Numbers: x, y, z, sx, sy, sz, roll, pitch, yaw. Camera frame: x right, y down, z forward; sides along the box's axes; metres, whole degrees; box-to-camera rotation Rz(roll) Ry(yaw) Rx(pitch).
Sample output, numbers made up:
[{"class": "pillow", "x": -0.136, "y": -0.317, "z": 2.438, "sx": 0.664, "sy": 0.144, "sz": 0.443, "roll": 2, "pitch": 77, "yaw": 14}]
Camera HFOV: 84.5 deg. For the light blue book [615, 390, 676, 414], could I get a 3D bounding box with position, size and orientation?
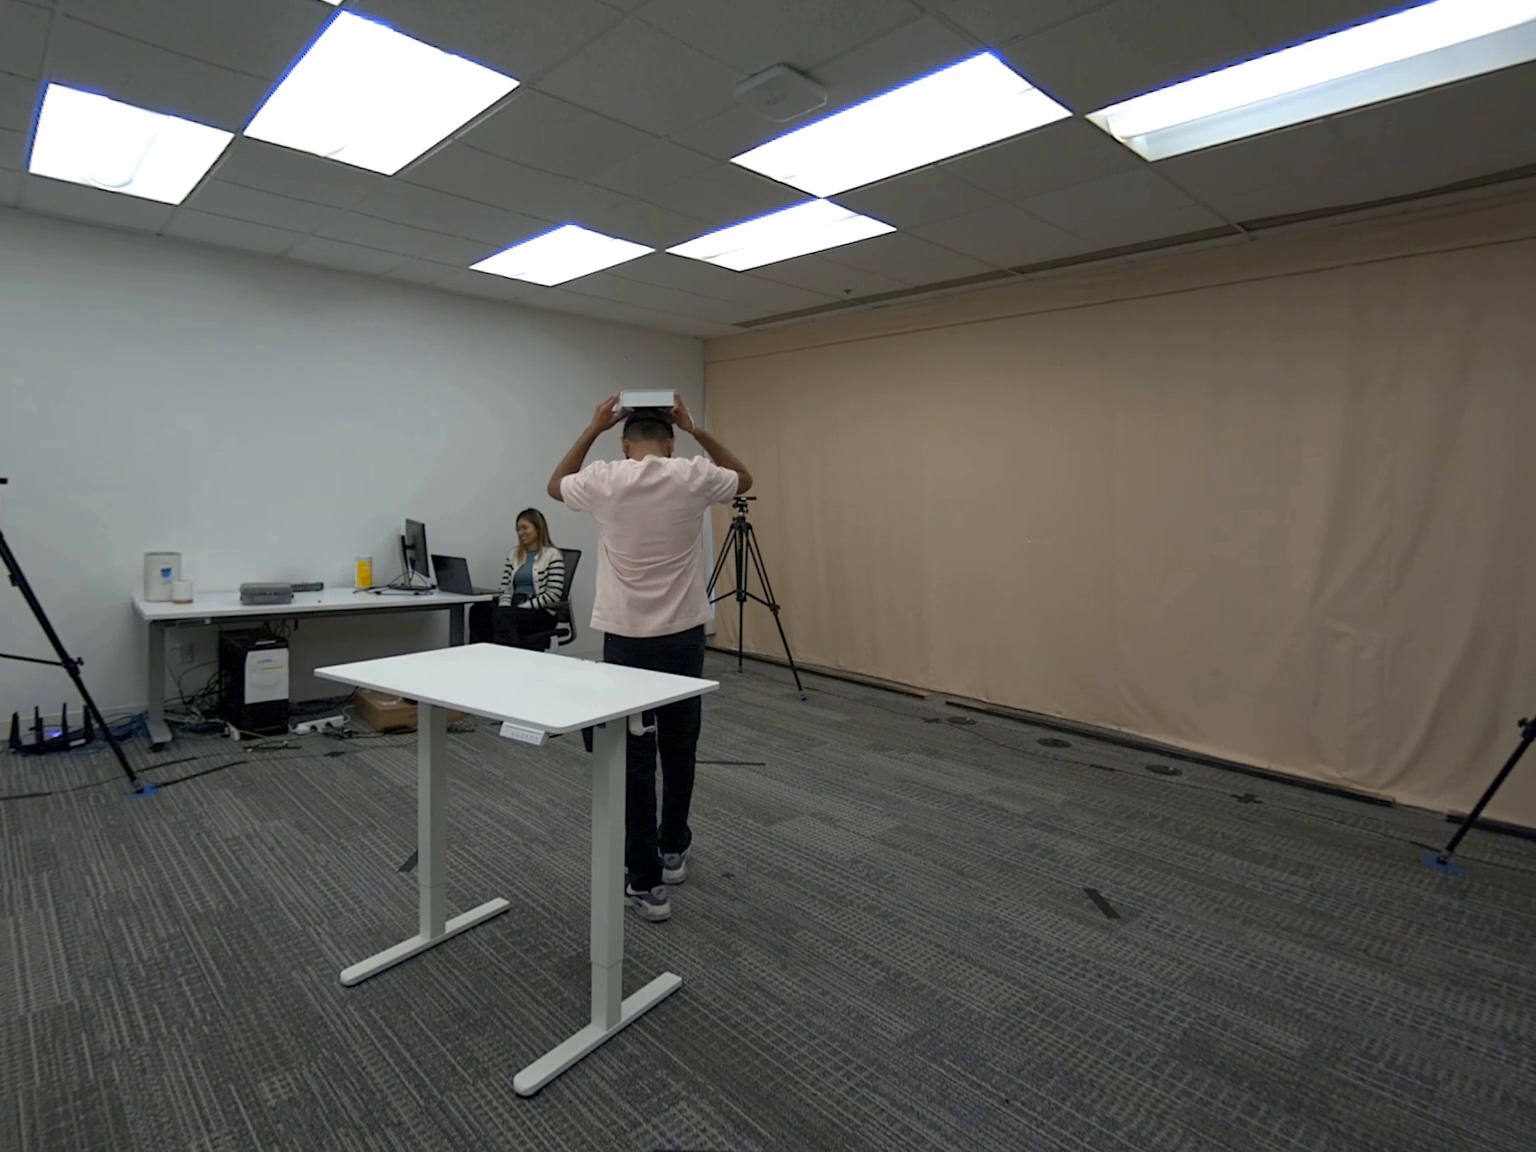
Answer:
[{"class": "light blue book", "x": -0.459, "y": -0.611, "z": 3.010, "sx": 0.191, "sy": 0.059, "sz": 0.261, "roll": -3, "pitch": -2, "yaw": -5}]
